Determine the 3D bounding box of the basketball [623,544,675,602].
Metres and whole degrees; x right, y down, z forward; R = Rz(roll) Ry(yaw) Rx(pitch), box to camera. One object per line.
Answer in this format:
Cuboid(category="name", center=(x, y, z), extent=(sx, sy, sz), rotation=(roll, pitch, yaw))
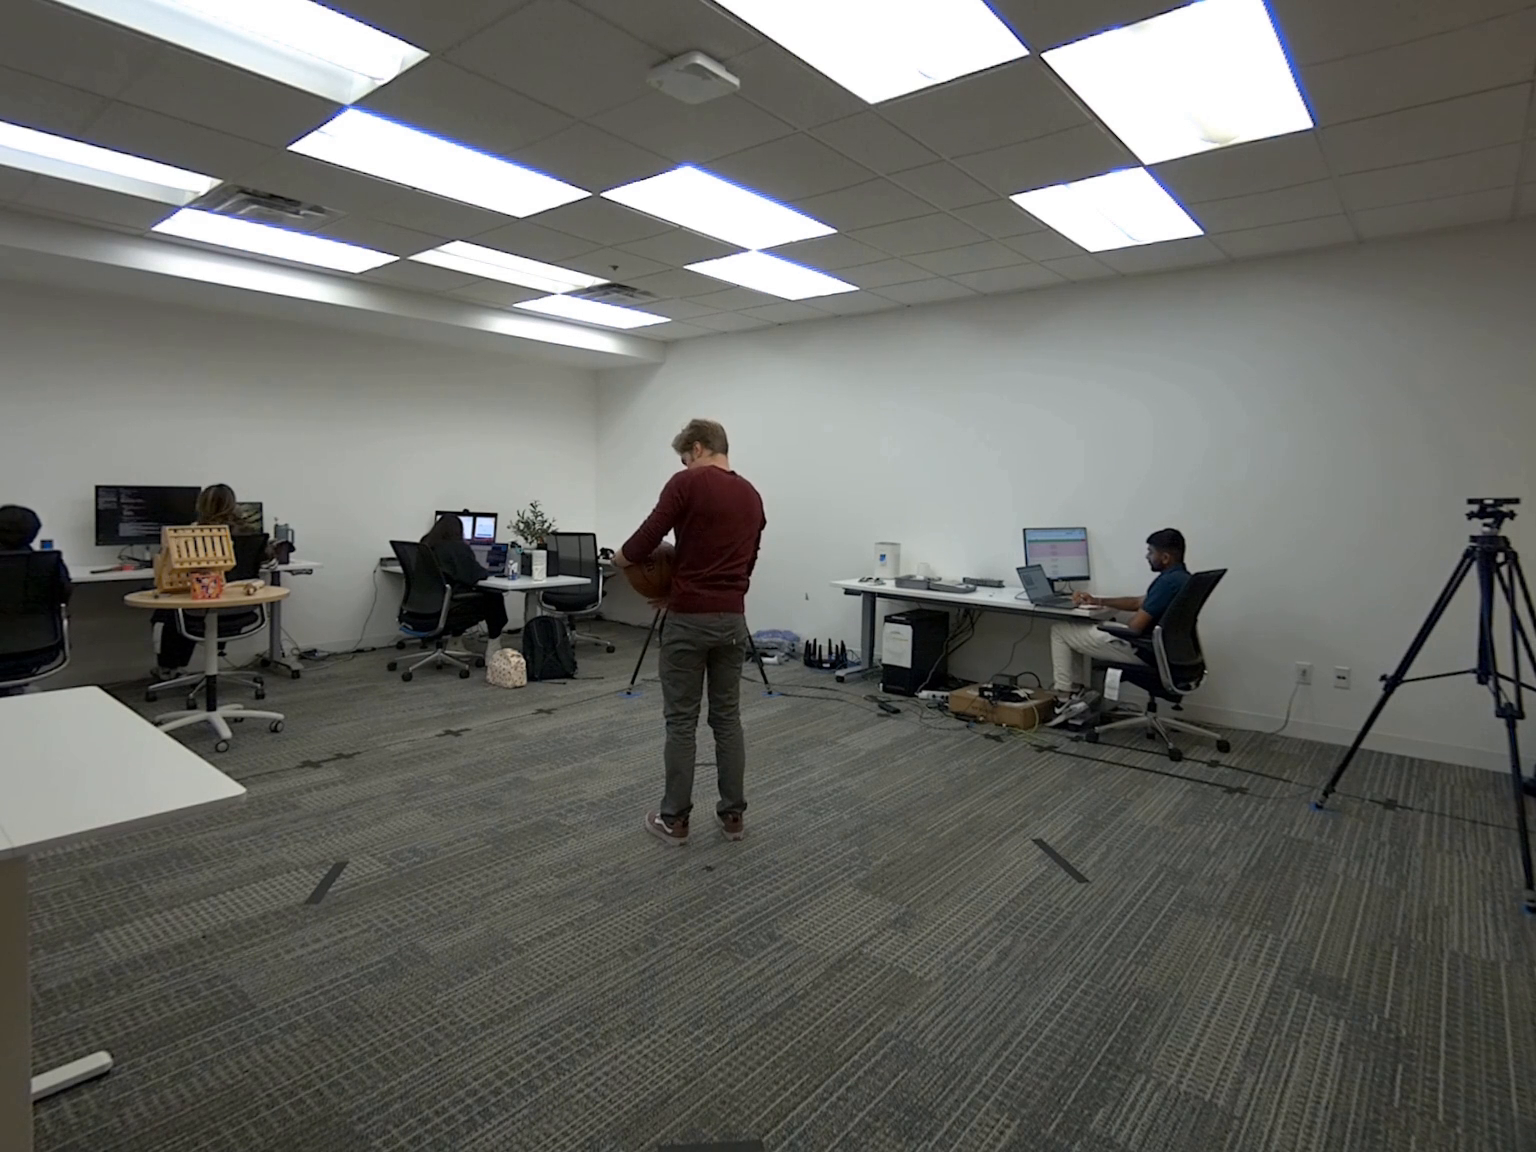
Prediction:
Cuboid(category="basketball", center=(-0.461, -0.033, 3.469), extent=(0.235, 0.235, 0.237), rotation=(1, 4, -2))
